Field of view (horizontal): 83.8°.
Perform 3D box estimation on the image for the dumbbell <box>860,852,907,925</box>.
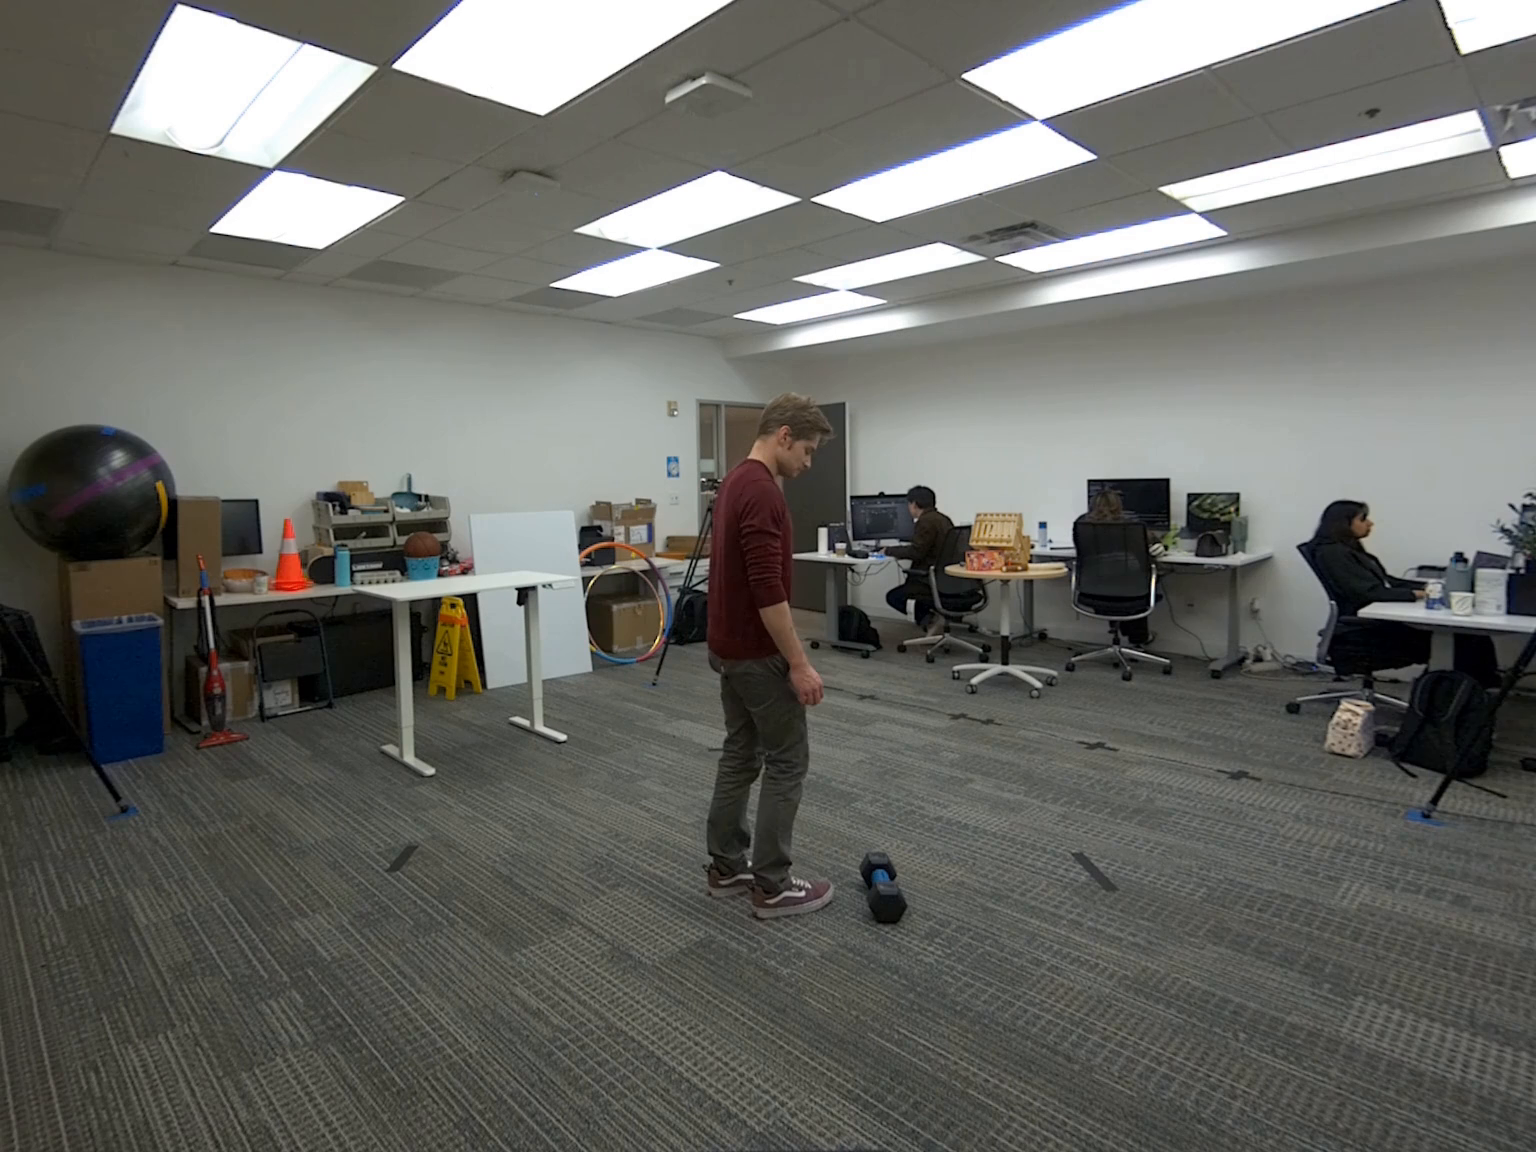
[{"bbox_3d":[0.376,1.015,2.805,0.109,0.122,0.294,-30,5,3],"label":"dumbbell"}]
